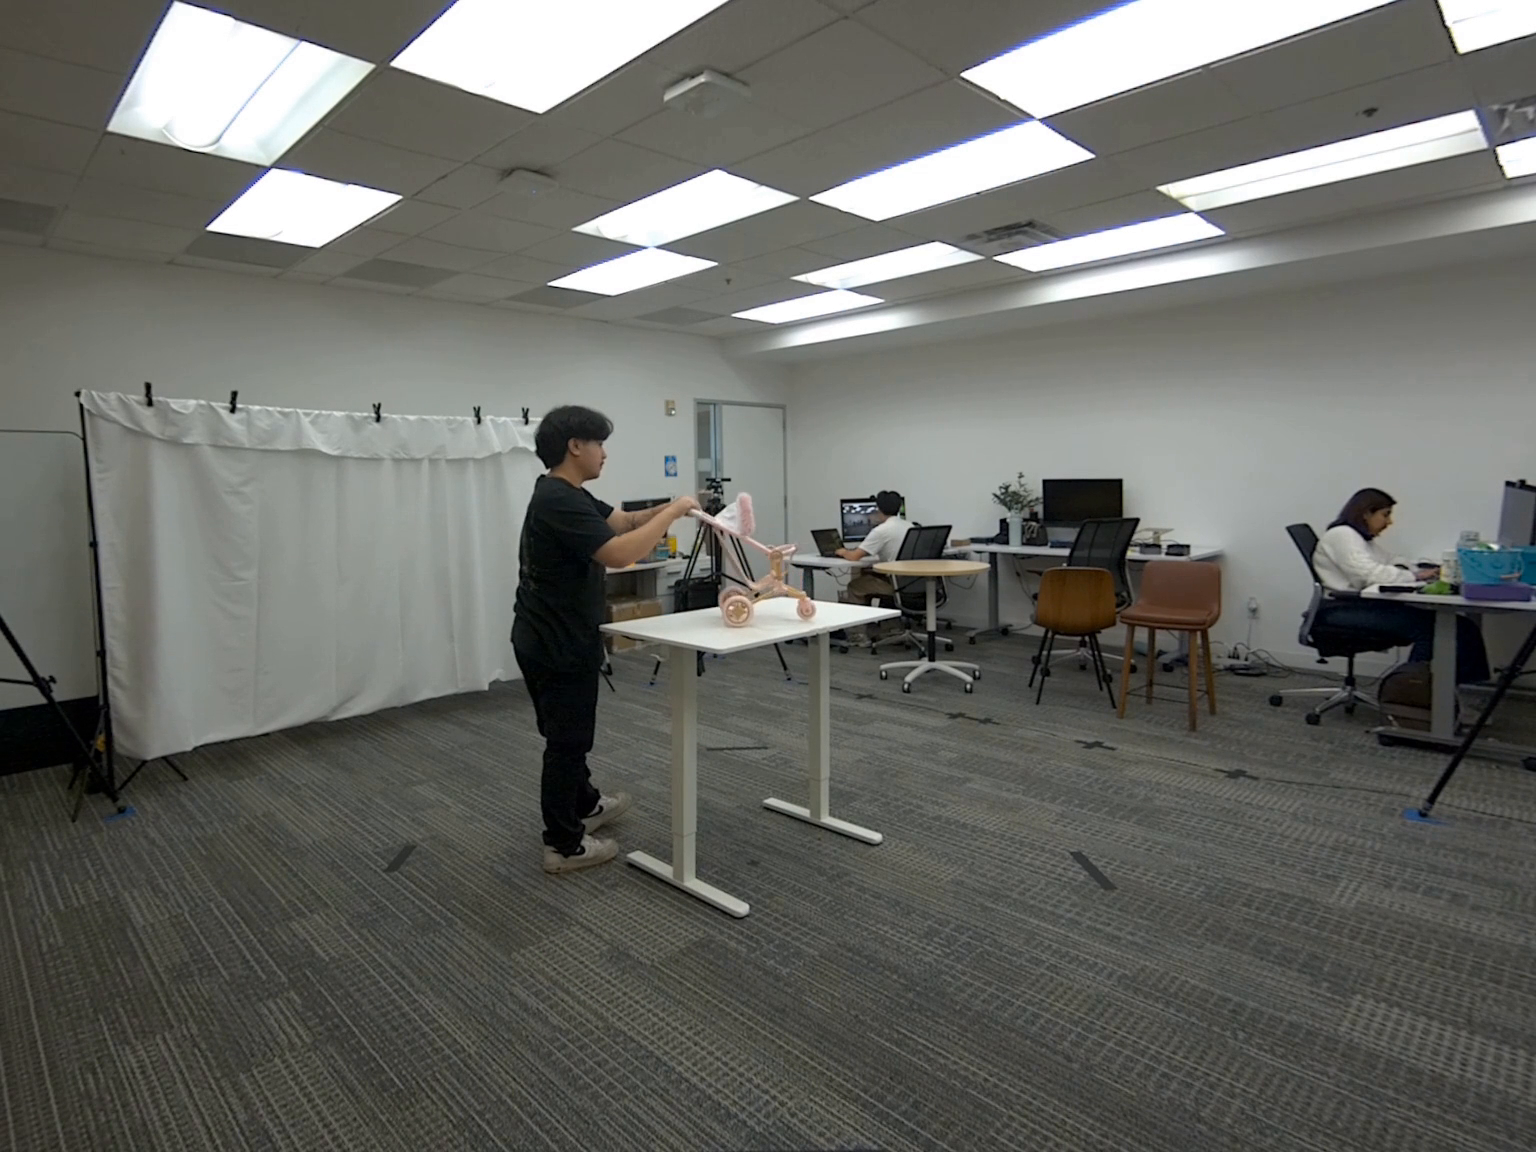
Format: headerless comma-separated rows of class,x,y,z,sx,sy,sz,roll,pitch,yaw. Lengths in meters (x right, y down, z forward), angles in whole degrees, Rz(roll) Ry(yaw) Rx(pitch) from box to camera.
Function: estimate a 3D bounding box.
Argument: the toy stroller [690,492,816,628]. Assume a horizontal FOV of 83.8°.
toy stroller,-0.056,-0.059,3.053,0.342,0.533,0.282,-16,4,1
